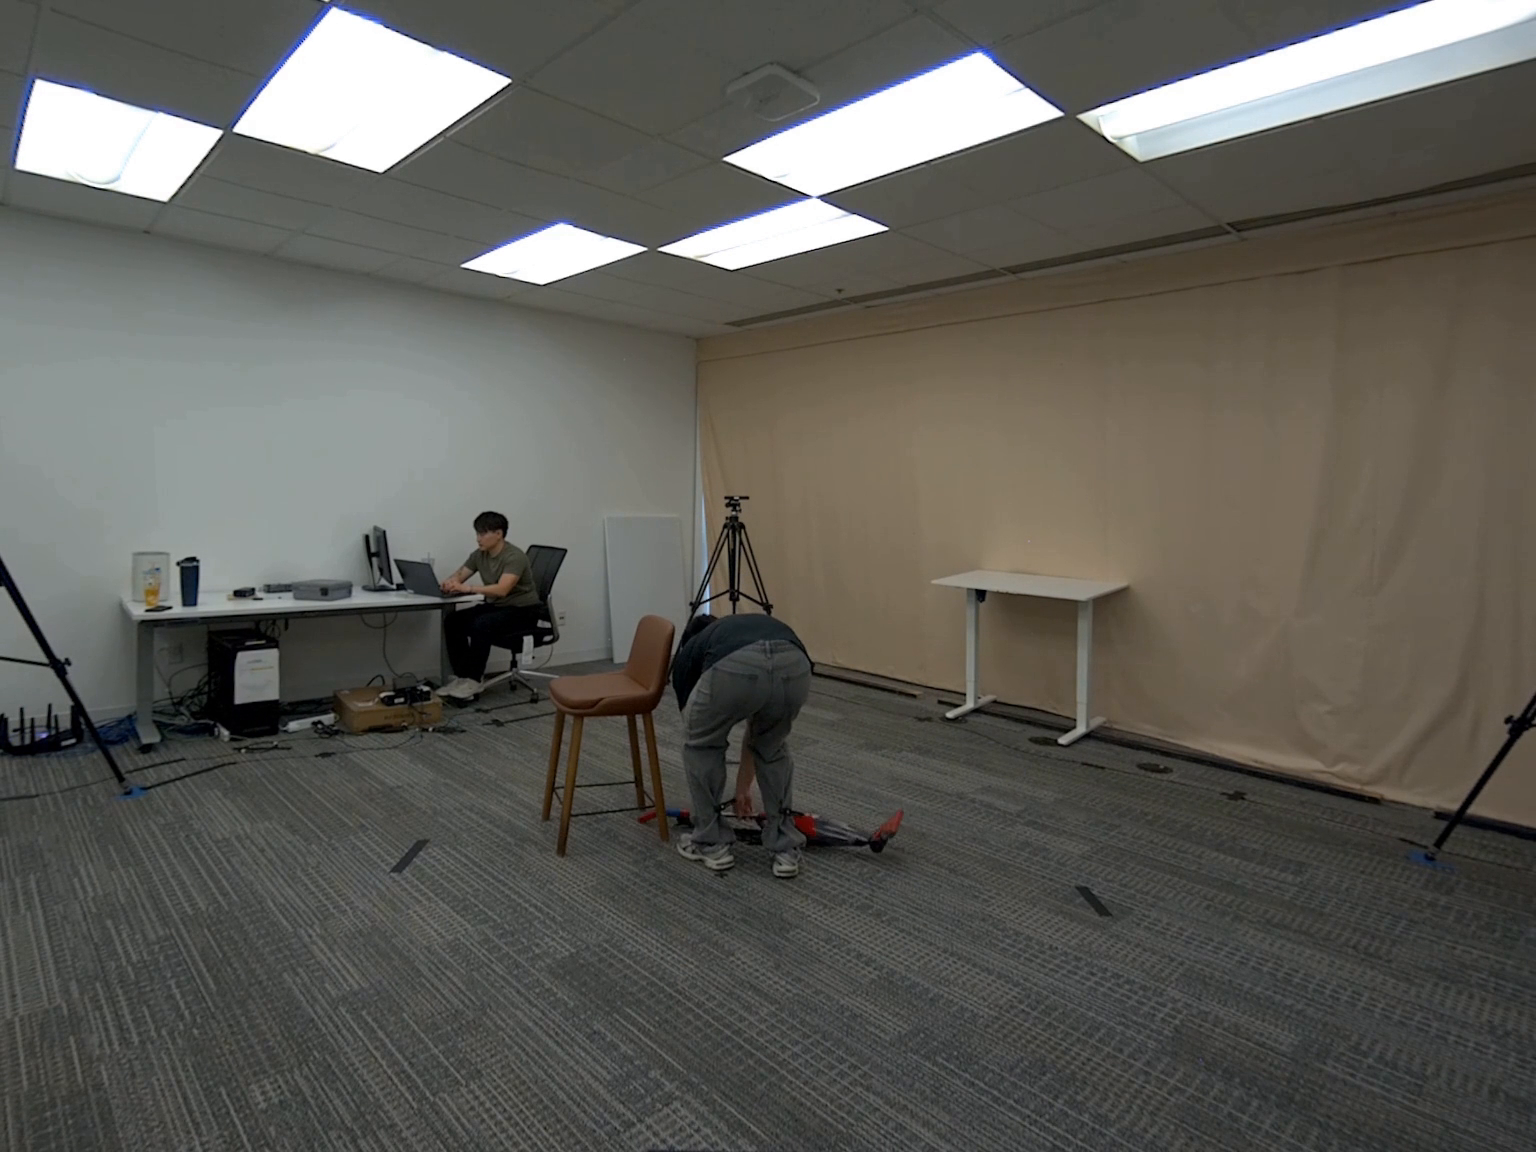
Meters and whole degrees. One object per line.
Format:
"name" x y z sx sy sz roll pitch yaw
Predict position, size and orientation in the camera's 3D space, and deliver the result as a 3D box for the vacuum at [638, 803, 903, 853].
"vacuum" -0.033 1.005 3.454 1.066 0.144 0.249 0 2 21
